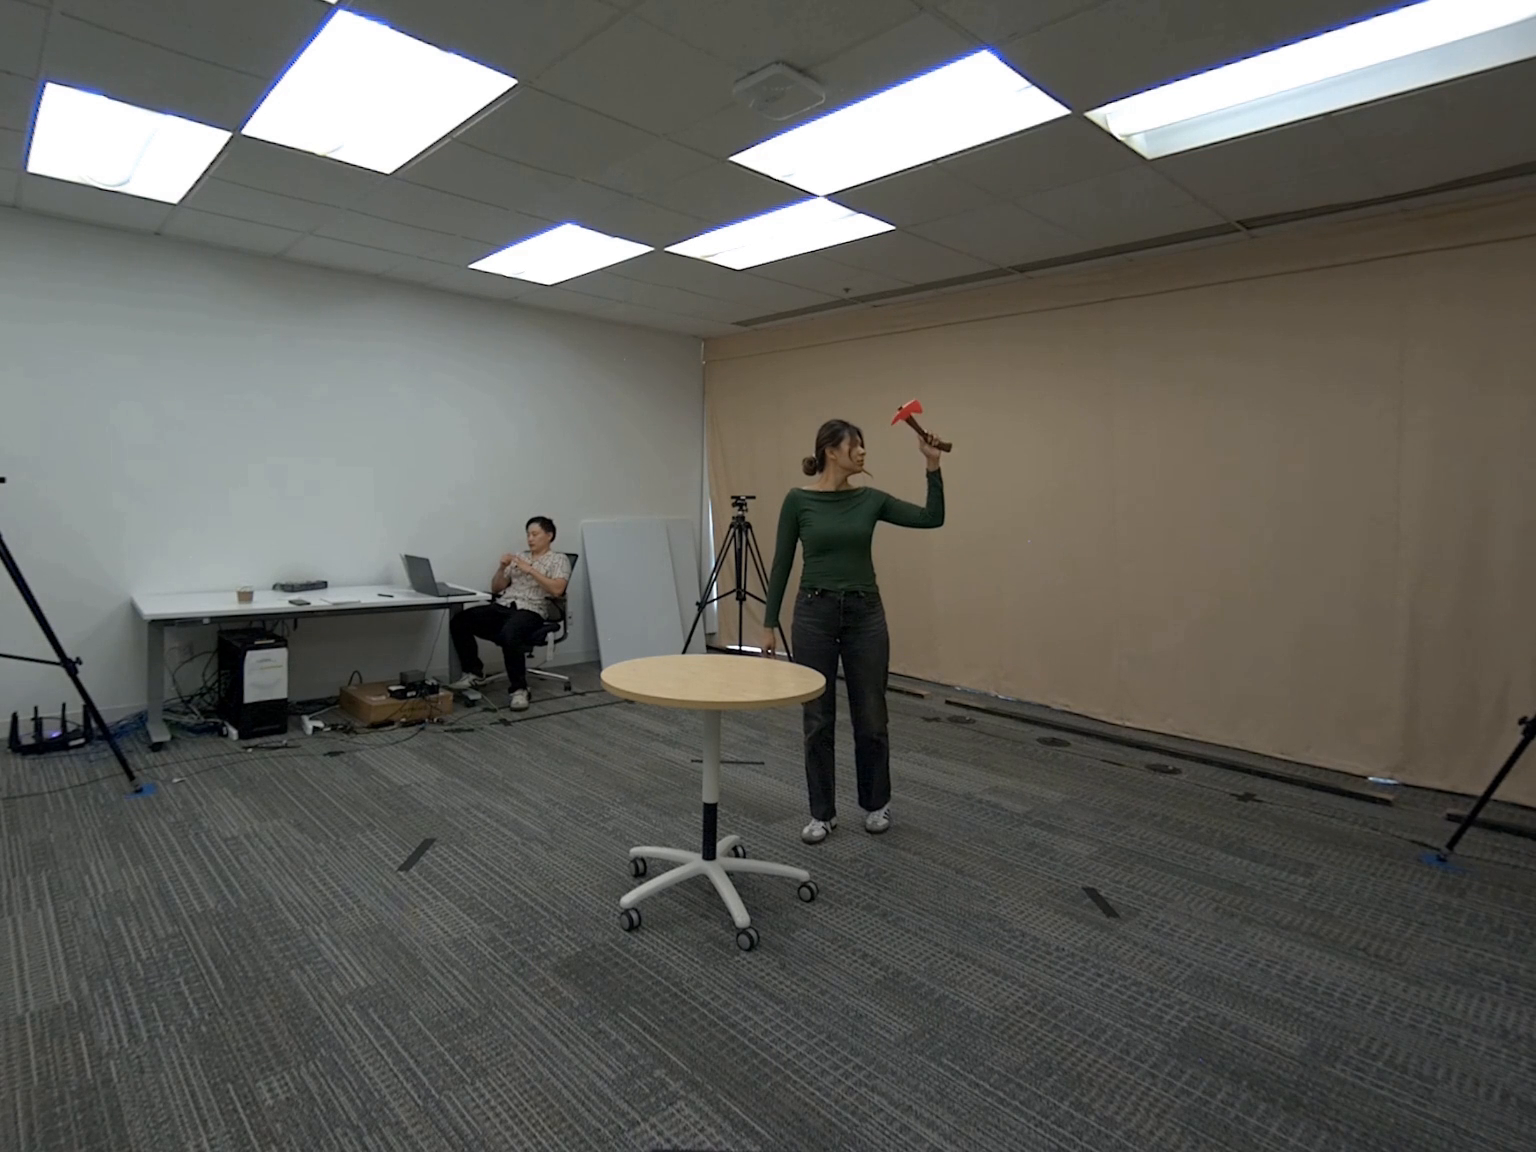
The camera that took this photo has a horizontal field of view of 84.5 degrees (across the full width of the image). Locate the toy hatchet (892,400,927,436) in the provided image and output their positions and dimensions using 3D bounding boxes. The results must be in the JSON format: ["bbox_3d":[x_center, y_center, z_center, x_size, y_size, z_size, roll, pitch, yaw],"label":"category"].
[{"bbox_3d":[0.618,-0.597,3.293,0.267,0.130,0.030,23,14,-9],"label":"toy hatchet"}]
